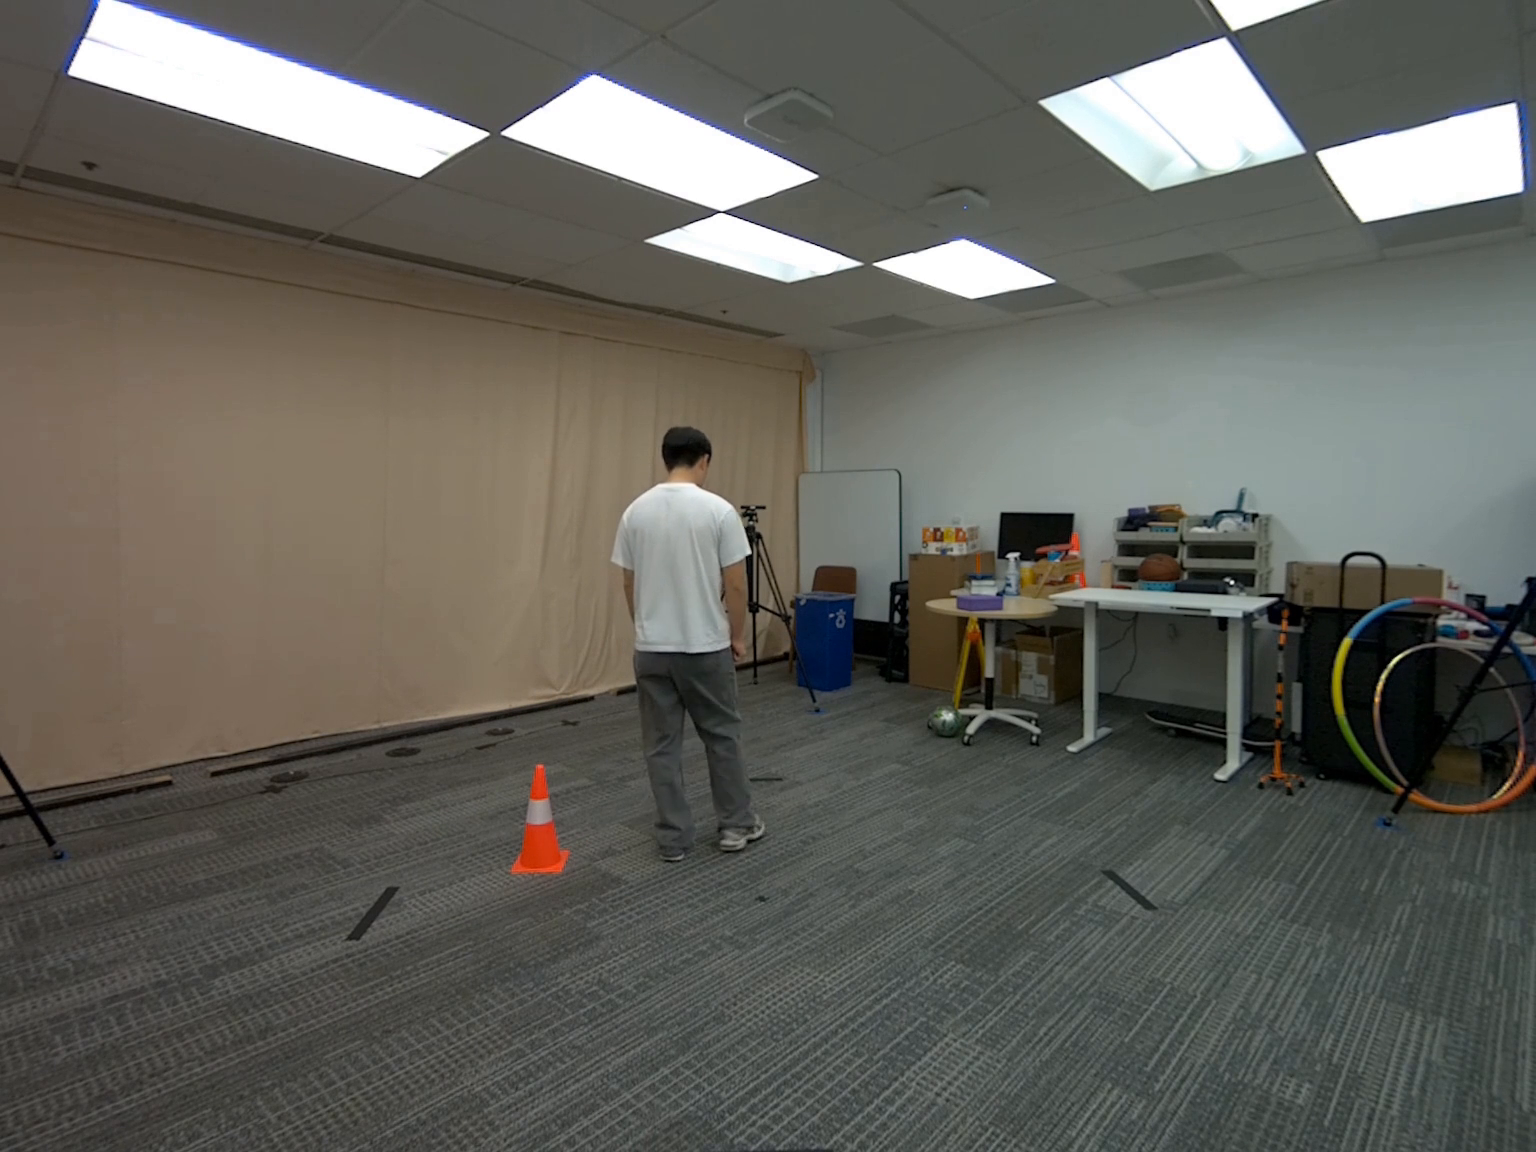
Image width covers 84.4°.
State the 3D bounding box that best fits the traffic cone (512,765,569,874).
[{"bbox_3d":[-0.902,0.942,3.309,0.204,0.383,0.204,-1,1,-4],"label":"traffic cone"}]
